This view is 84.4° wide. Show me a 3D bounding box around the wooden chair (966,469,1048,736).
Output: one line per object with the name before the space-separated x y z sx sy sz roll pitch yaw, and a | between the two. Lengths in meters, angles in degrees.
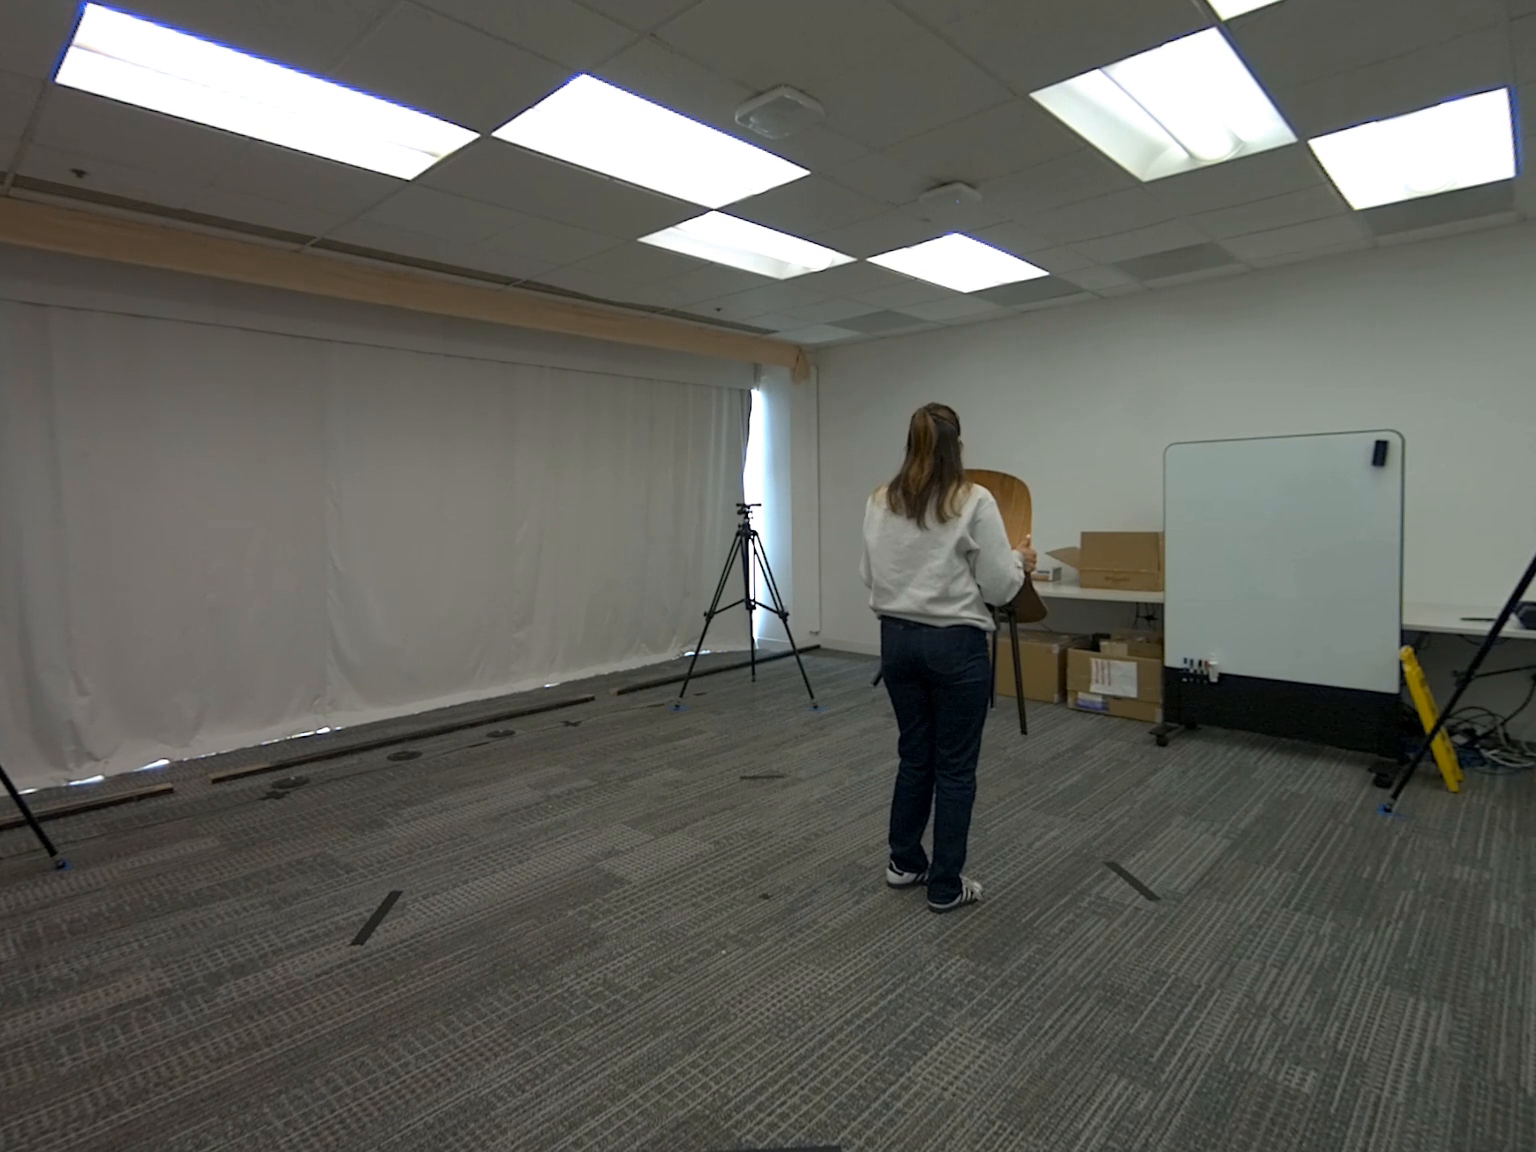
wooden chair | 0.780 0.099 3.183 0.493 0.881 0.505 5 -14 34
